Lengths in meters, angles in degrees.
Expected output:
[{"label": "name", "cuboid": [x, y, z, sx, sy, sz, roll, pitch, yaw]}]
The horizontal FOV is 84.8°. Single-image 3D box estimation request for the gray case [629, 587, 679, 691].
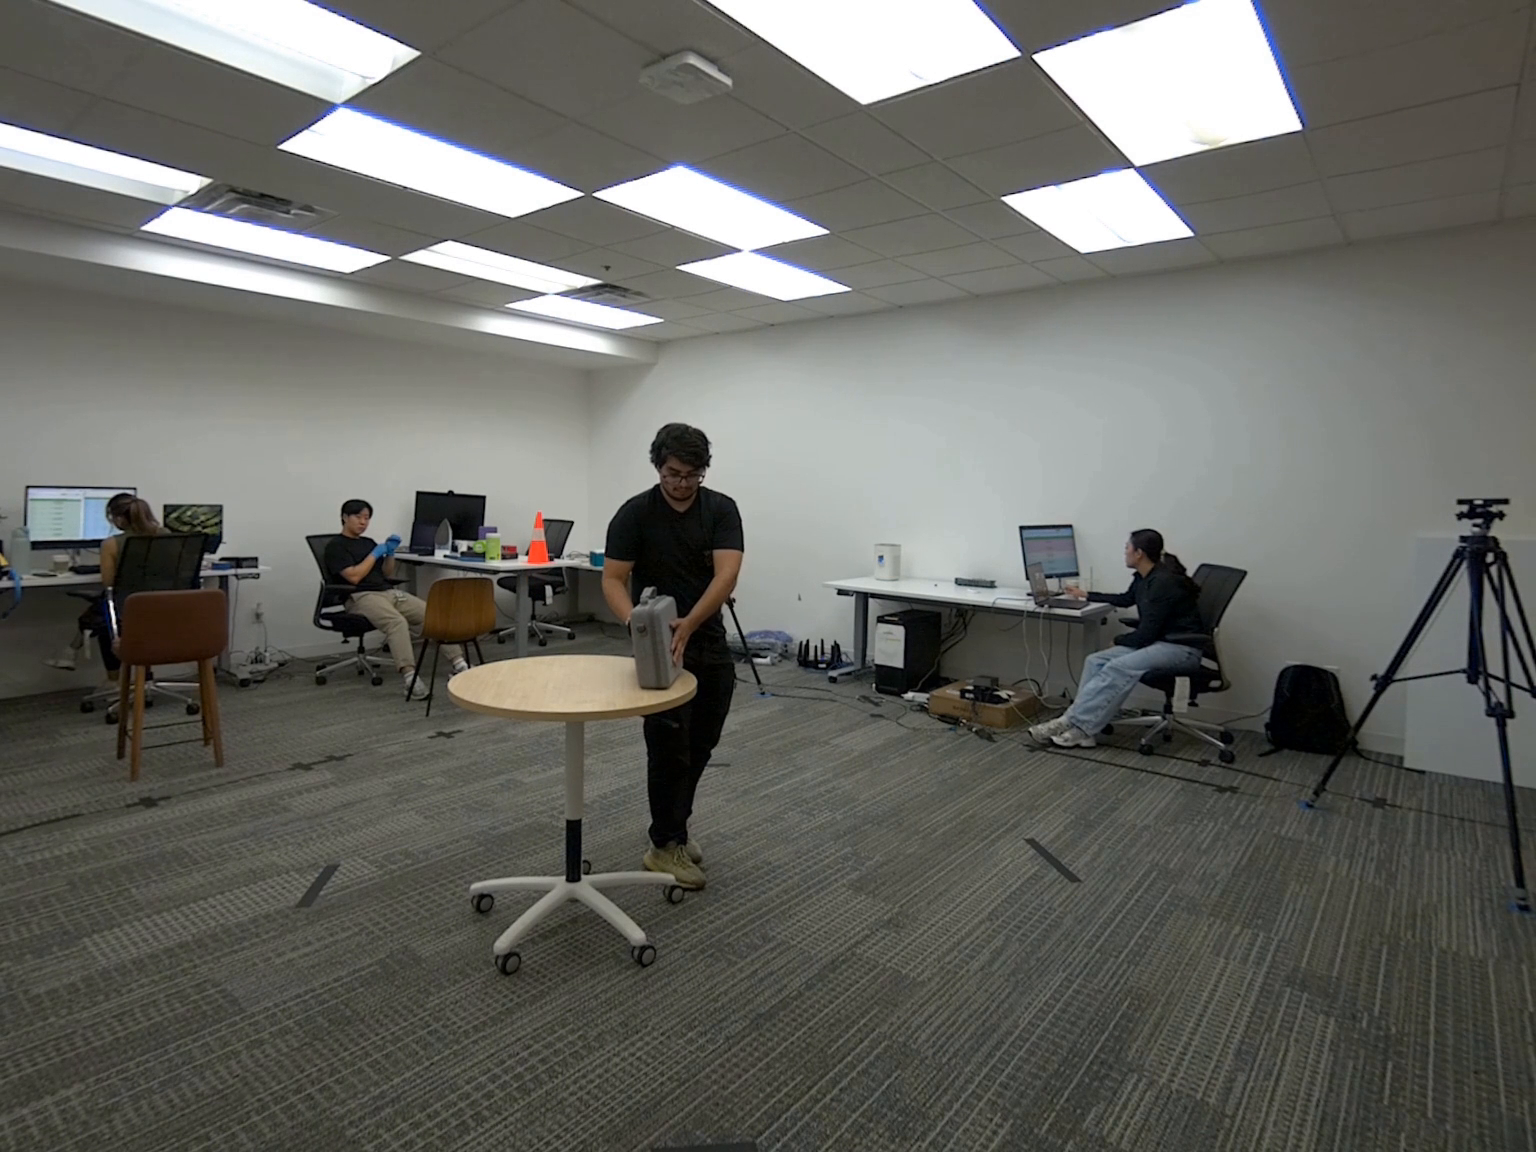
[{"label": "gray case", "cuboid": [-0.362, 0.199, 2.659, 0.104, 0.259, 0.258, -8, 5, 1]}]
